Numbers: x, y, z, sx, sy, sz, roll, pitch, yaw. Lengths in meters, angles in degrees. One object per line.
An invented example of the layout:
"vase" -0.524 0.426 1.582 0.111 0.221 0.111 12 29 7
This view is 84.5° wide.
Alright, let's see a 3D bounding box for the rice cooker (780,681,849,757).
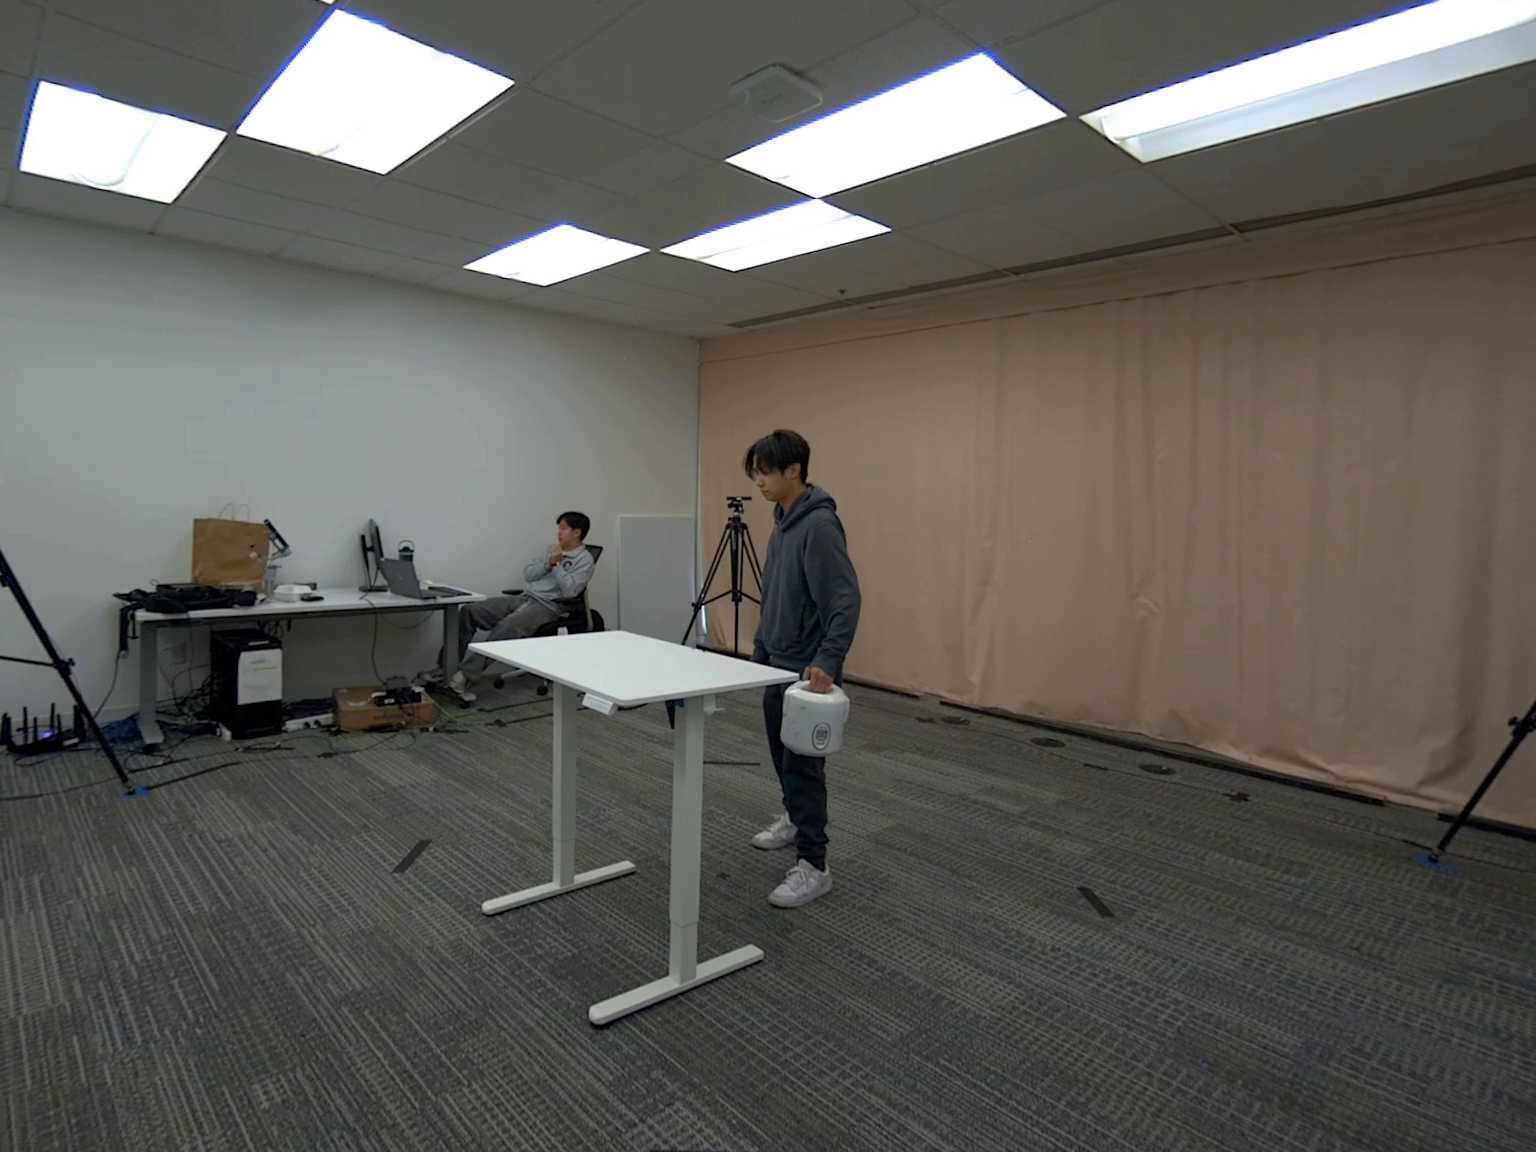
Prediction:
"rice cooker" 0.142 0.459 2.784 0.218 0.232 0.220 6 7 -11
